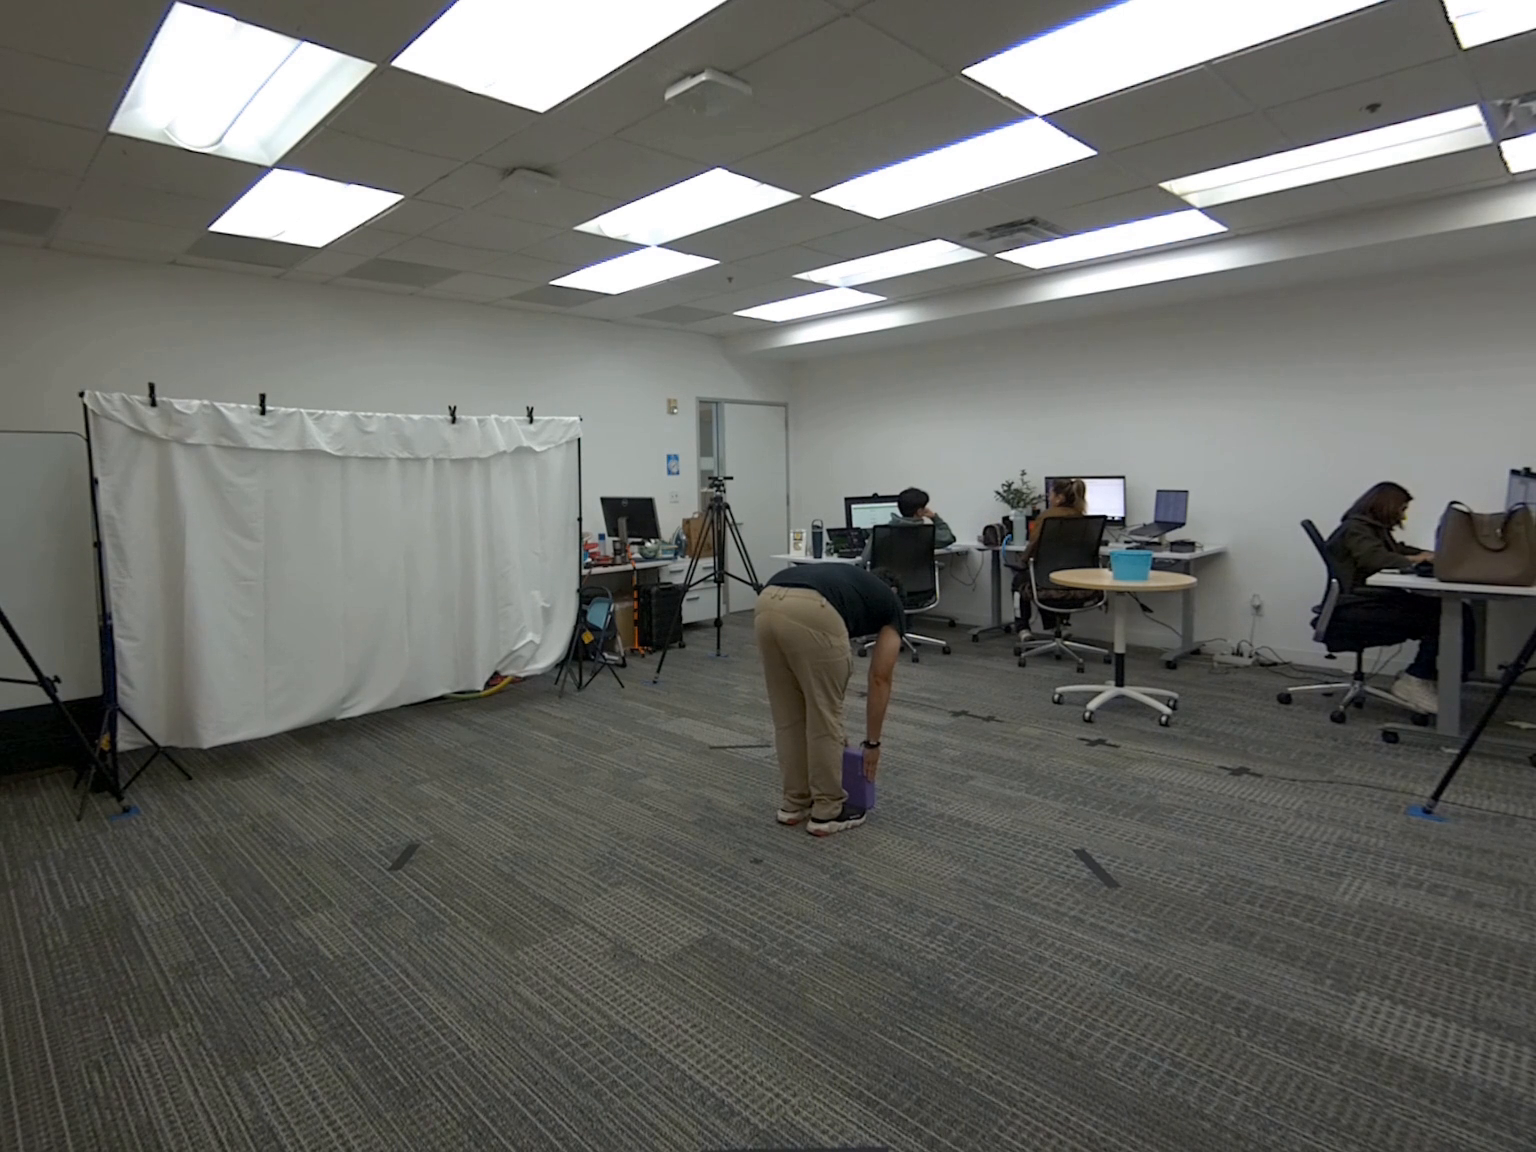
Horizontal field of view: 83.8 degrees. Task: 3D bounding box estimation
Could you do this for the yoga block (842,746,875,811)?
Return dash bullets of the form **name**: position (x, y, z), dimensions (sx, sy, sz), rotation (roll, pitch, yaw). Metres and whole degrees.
- **yoga block**: position (0.376, 0.856, 3.619), dimensions (0.074, 0.229, 0.153), rotation (-4, 4, -42)
